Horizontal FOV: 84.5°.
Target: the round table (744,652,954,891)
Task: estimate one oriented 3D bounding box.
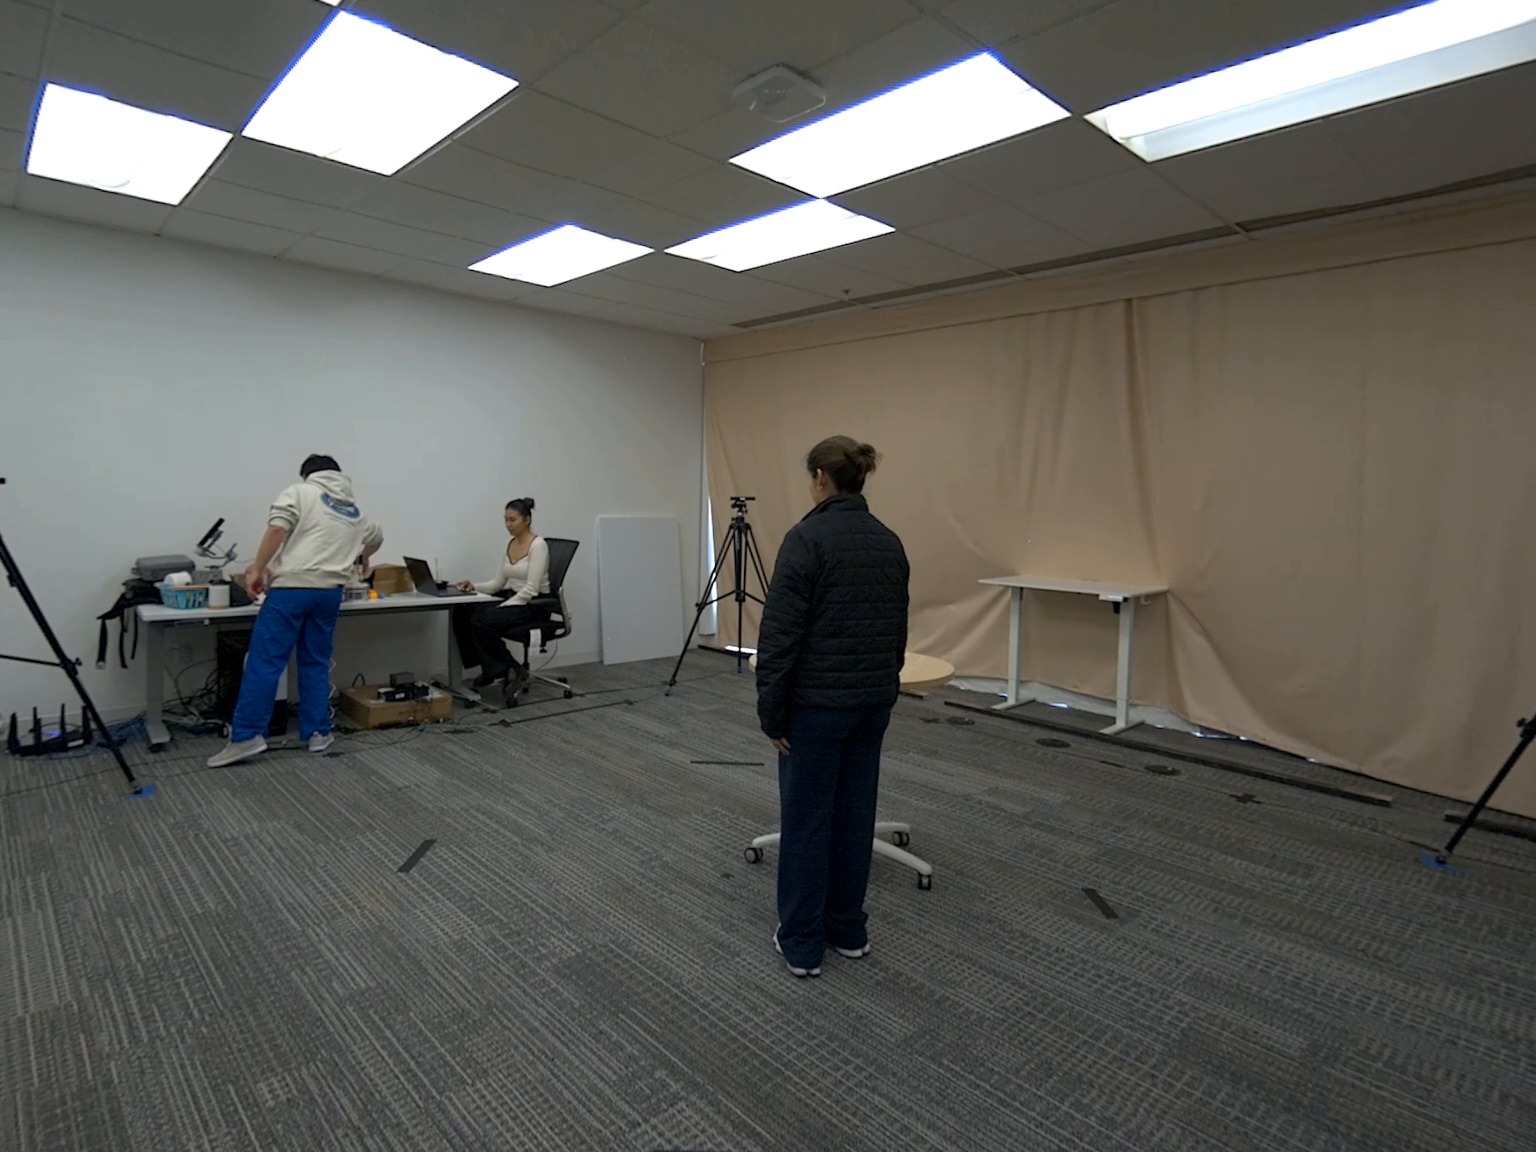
[{"bbox_3d":[0.291,0.720,3.186,0.784,0.785,0.787,1,4,-1],"label":"round table"}]
